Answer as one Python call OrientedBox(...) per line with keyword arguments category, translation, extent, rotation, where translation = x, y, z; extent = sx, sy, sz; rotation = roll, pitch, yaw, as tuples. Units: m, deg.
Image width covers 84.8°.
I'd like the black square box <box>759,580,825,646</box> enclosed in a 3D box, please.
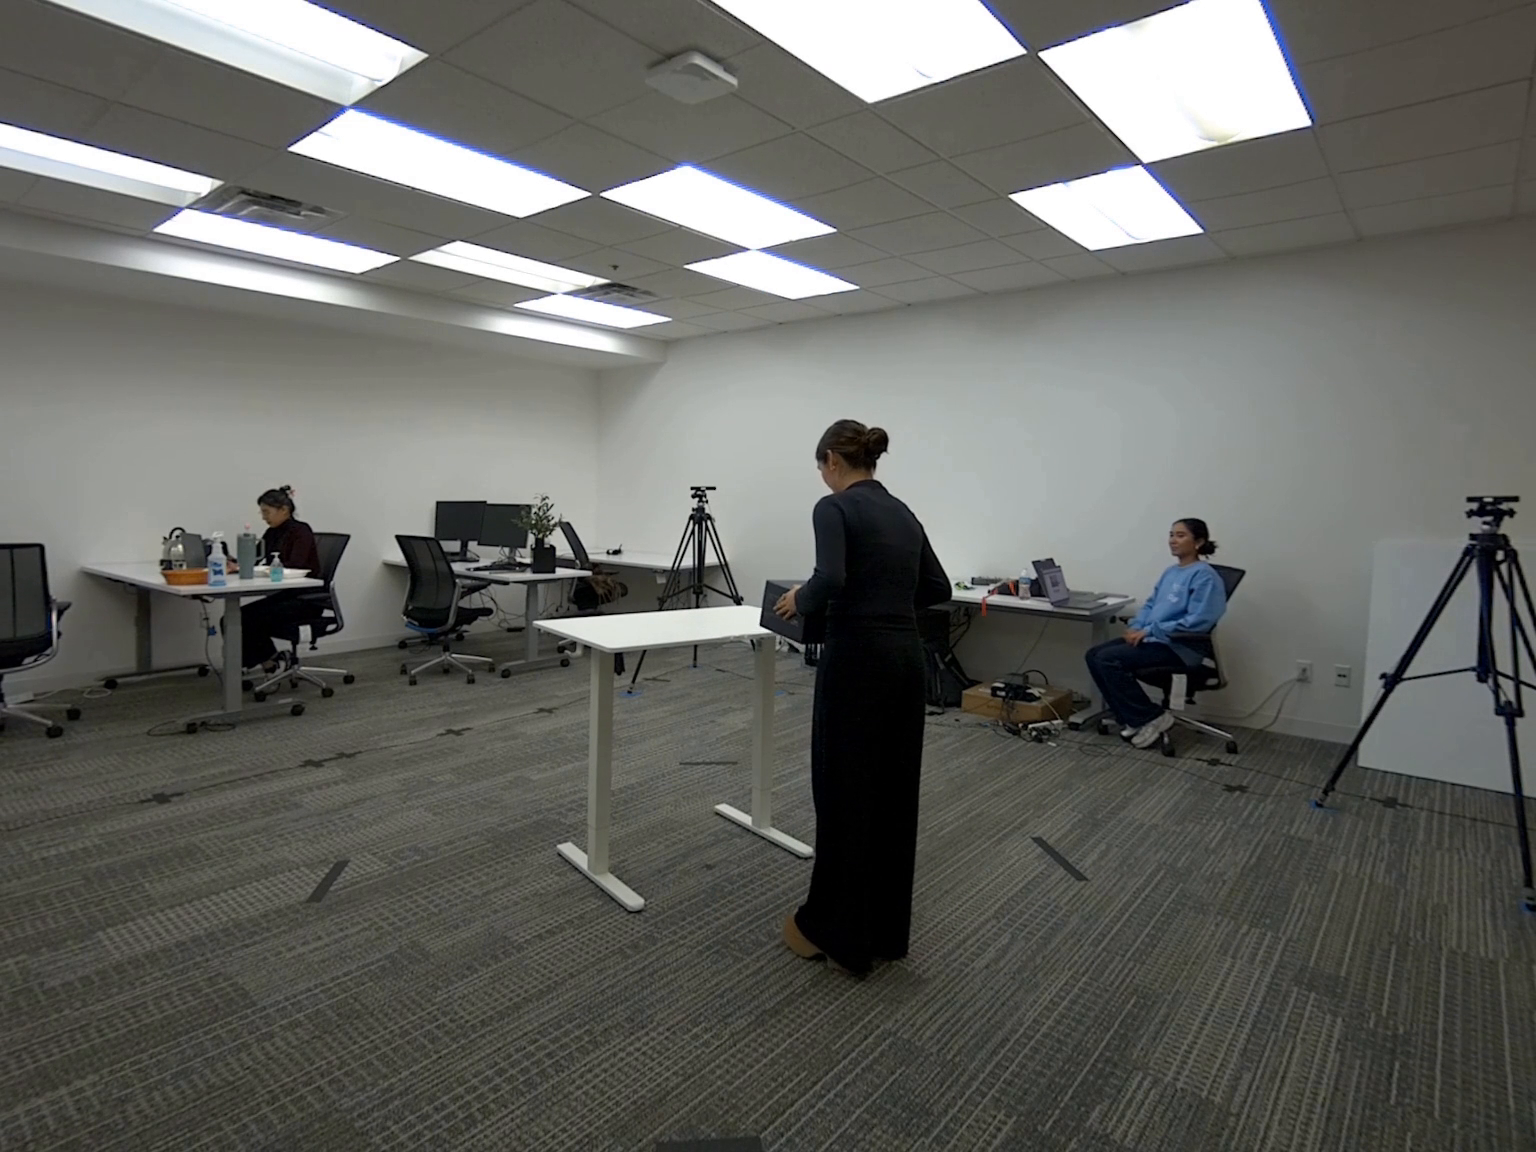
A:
OrientedBox(category="black square box", translation=(0.120, 0.111, 2.762), extent=(0.221, 0.155, 0.225), rotation=(1, 12, -37))
